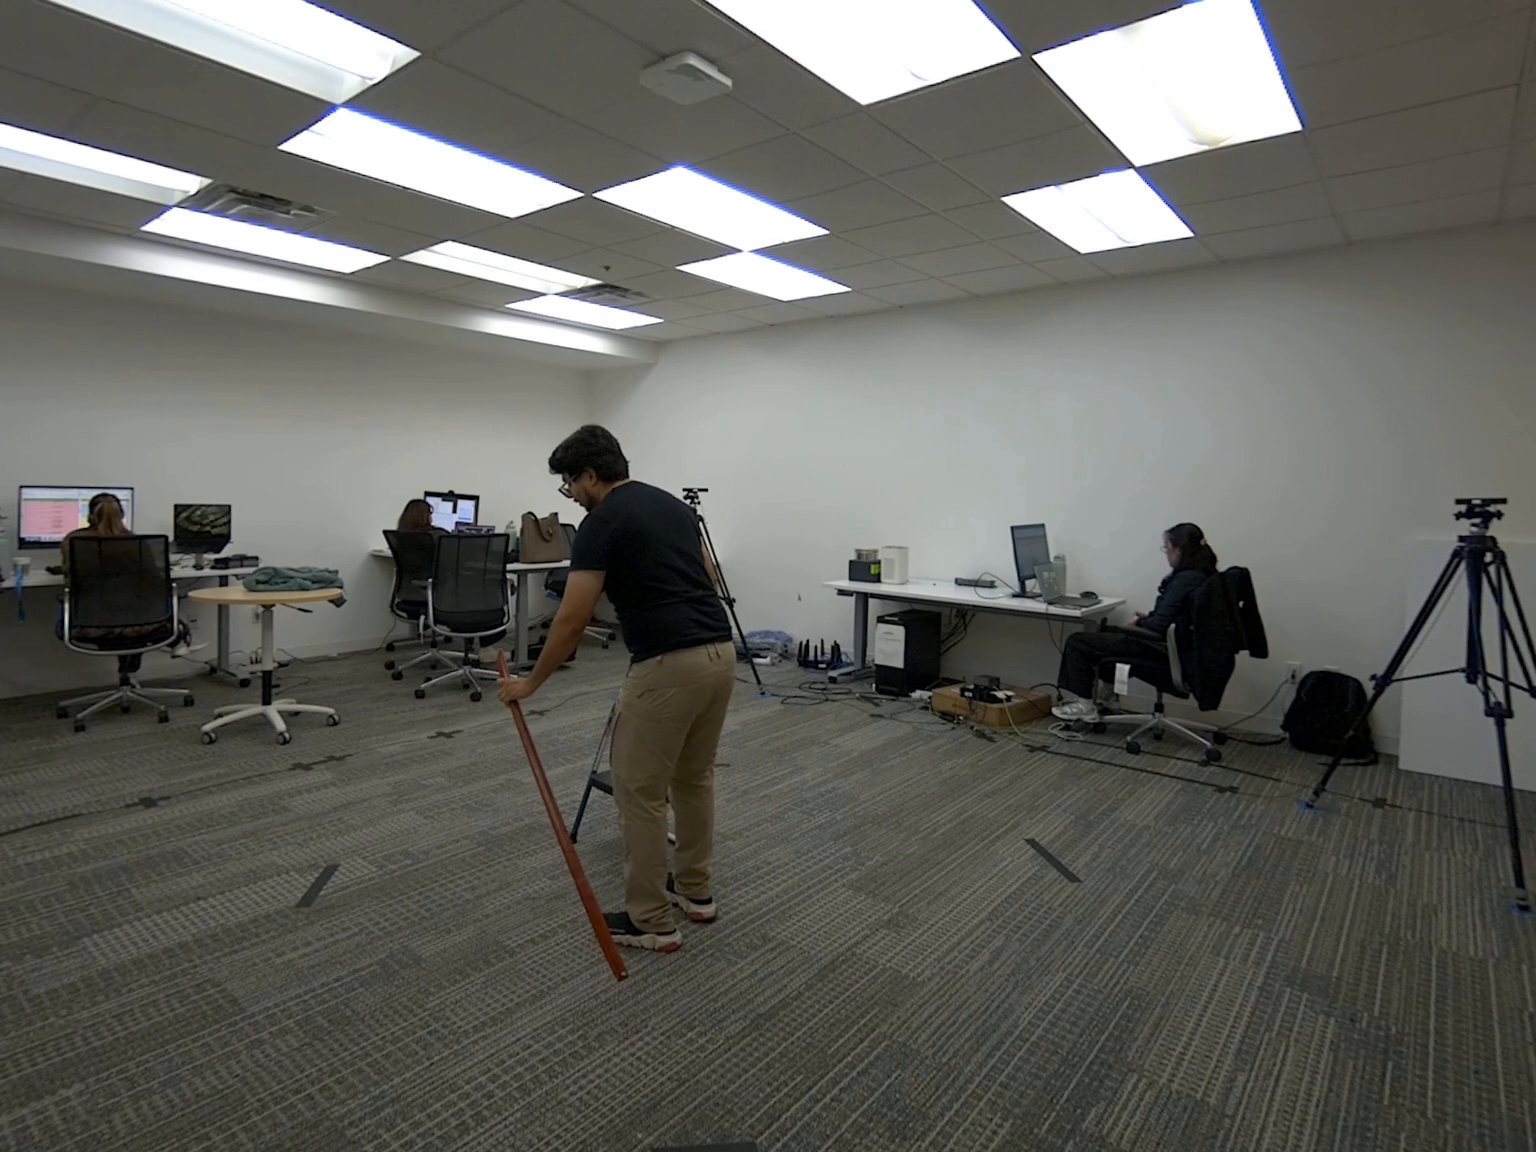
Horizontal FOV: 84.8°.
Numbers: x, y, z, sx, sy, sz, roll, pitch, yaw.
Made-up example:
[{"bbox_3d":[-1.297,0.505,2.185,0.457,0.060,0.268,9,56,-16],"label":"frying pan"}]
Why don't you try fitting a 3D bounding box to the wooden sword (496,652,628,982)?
[{"bbox_3d":[-0.616,0.634,2.413,0.051,1.061,0.023,-36,-29,7],"label":"wooden sword"}]
